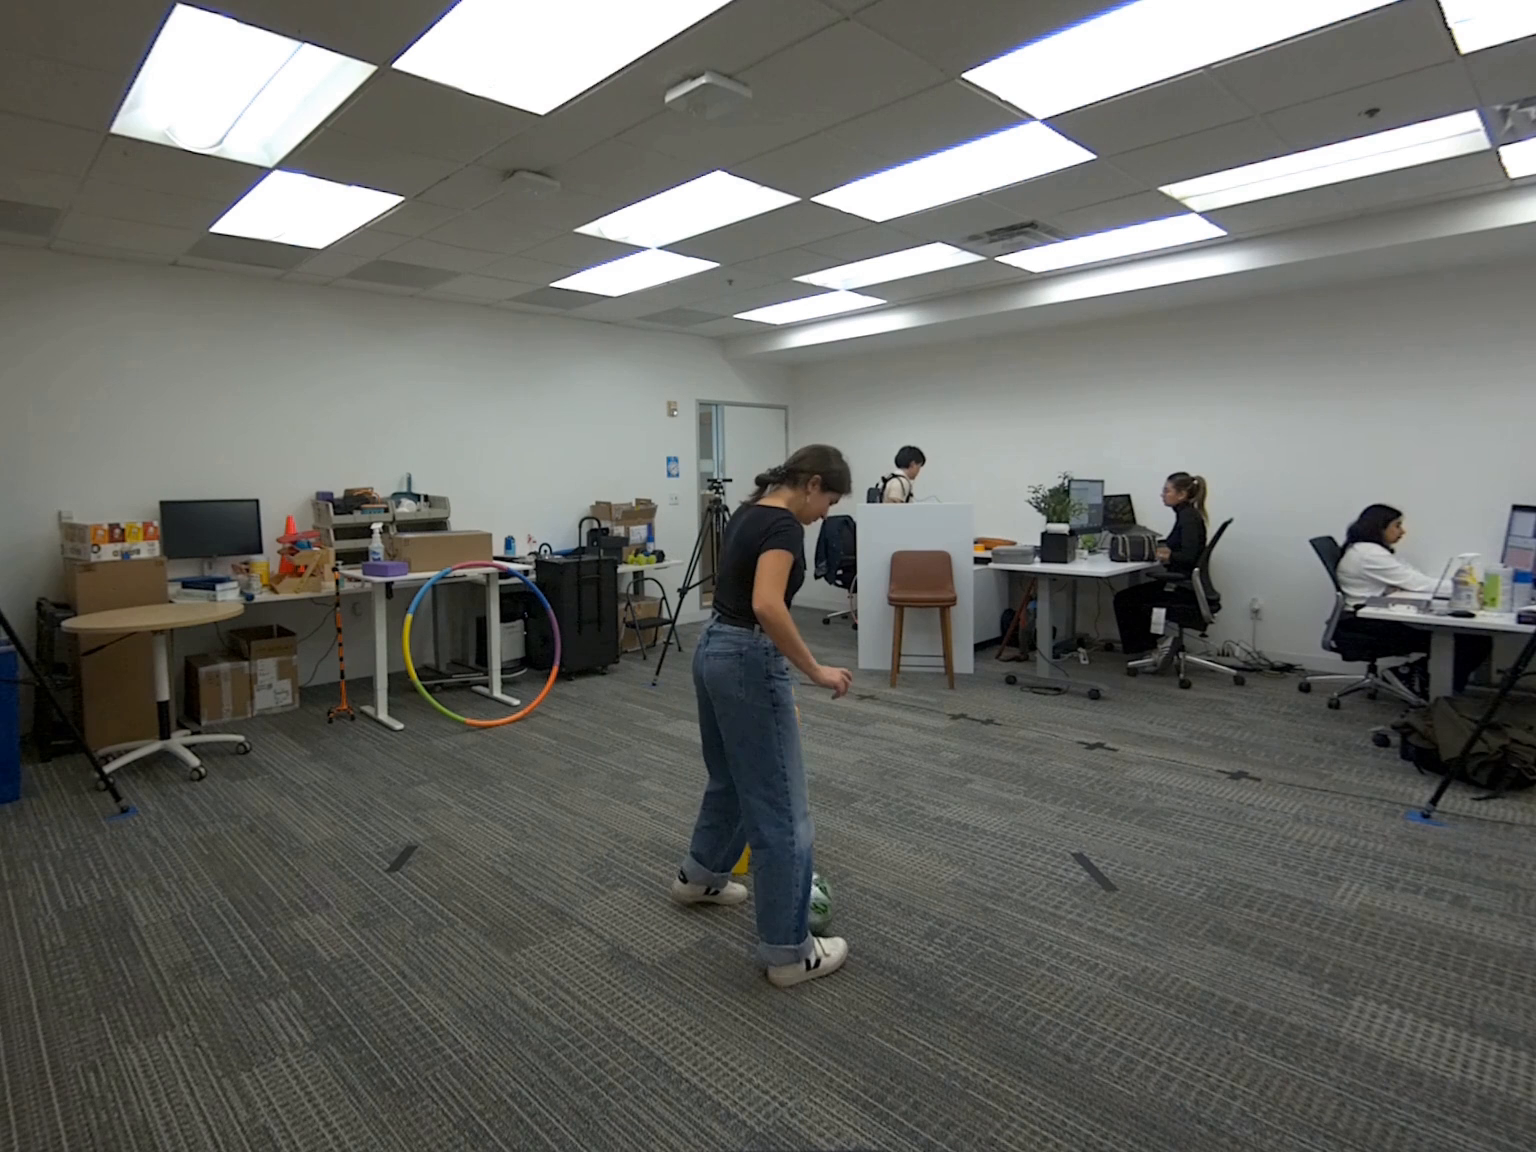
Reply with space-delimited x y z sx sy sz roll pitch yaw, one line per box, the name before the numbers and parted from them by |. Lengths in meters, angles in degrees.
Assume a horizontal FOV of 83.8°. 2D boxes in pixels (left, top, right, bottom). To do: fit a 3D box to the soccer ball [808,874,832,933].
soccer ball | 0.129 1.014 2.630 0.187 0.187 0.188 -1 5 -2
